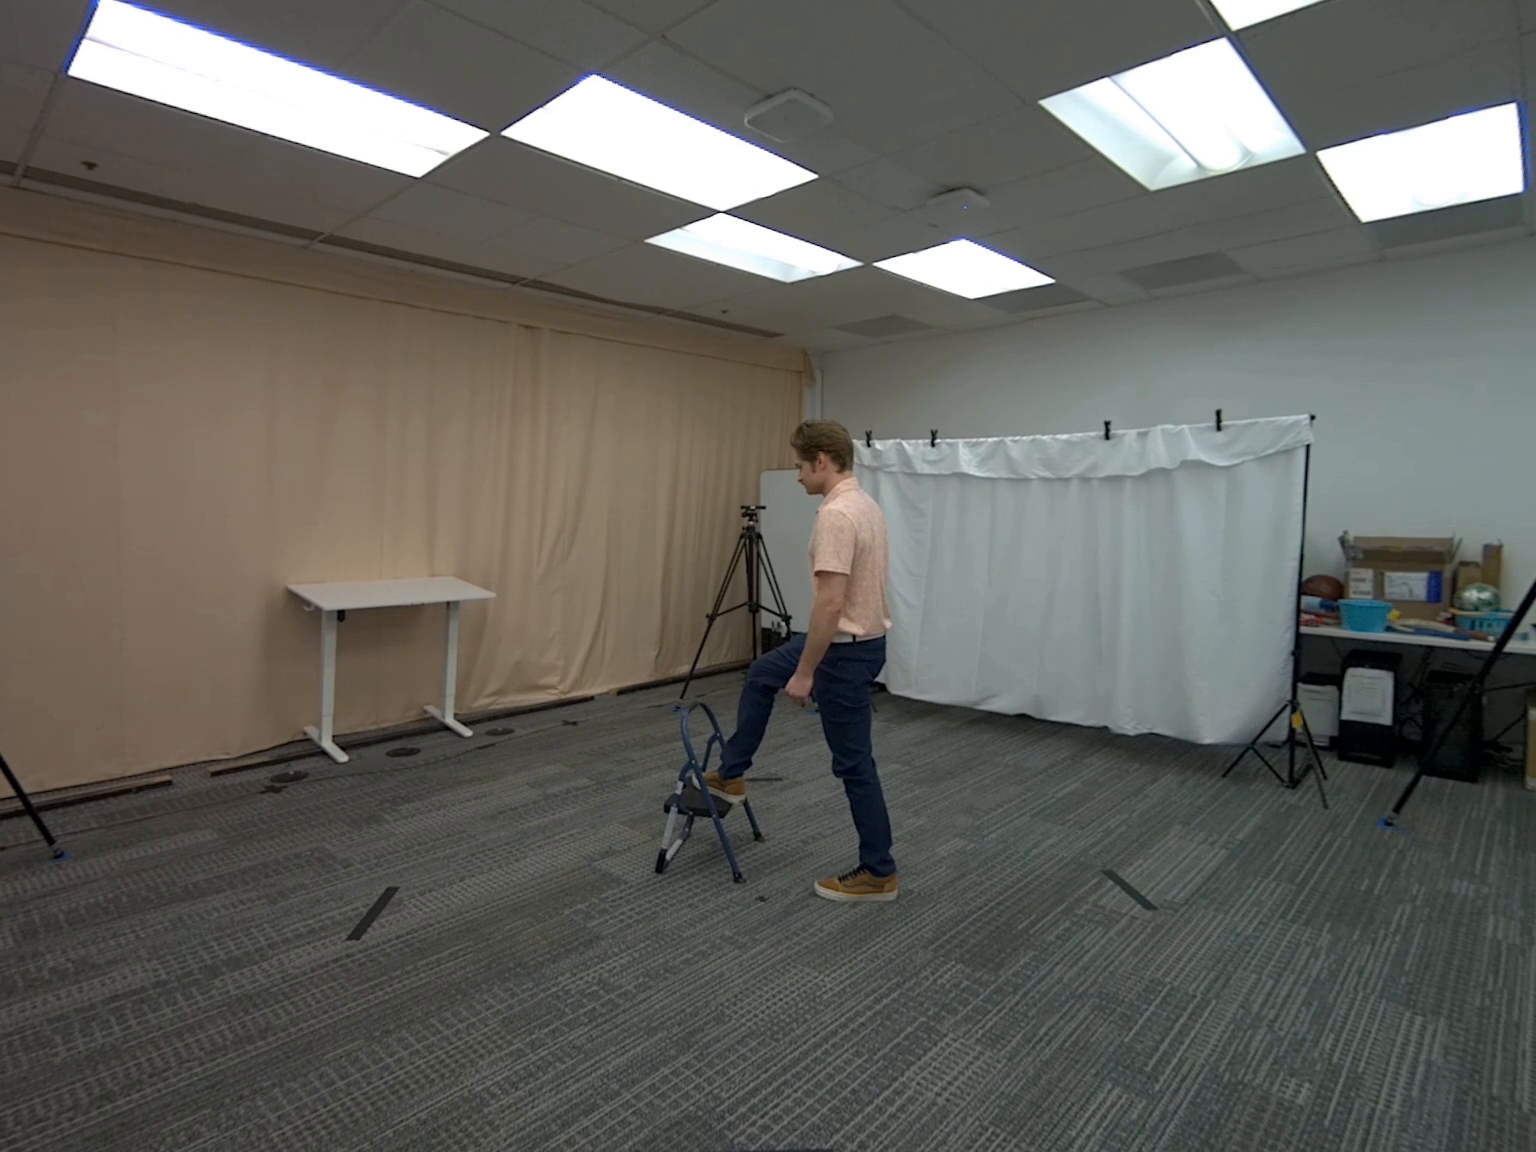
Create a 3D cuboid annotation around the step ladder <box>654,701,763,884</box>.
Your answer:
[{"bbox_3d":[-0.228,0.814,3.338,0.354,0.605,0.426,0,4,12],"label":"step ladder"}]
